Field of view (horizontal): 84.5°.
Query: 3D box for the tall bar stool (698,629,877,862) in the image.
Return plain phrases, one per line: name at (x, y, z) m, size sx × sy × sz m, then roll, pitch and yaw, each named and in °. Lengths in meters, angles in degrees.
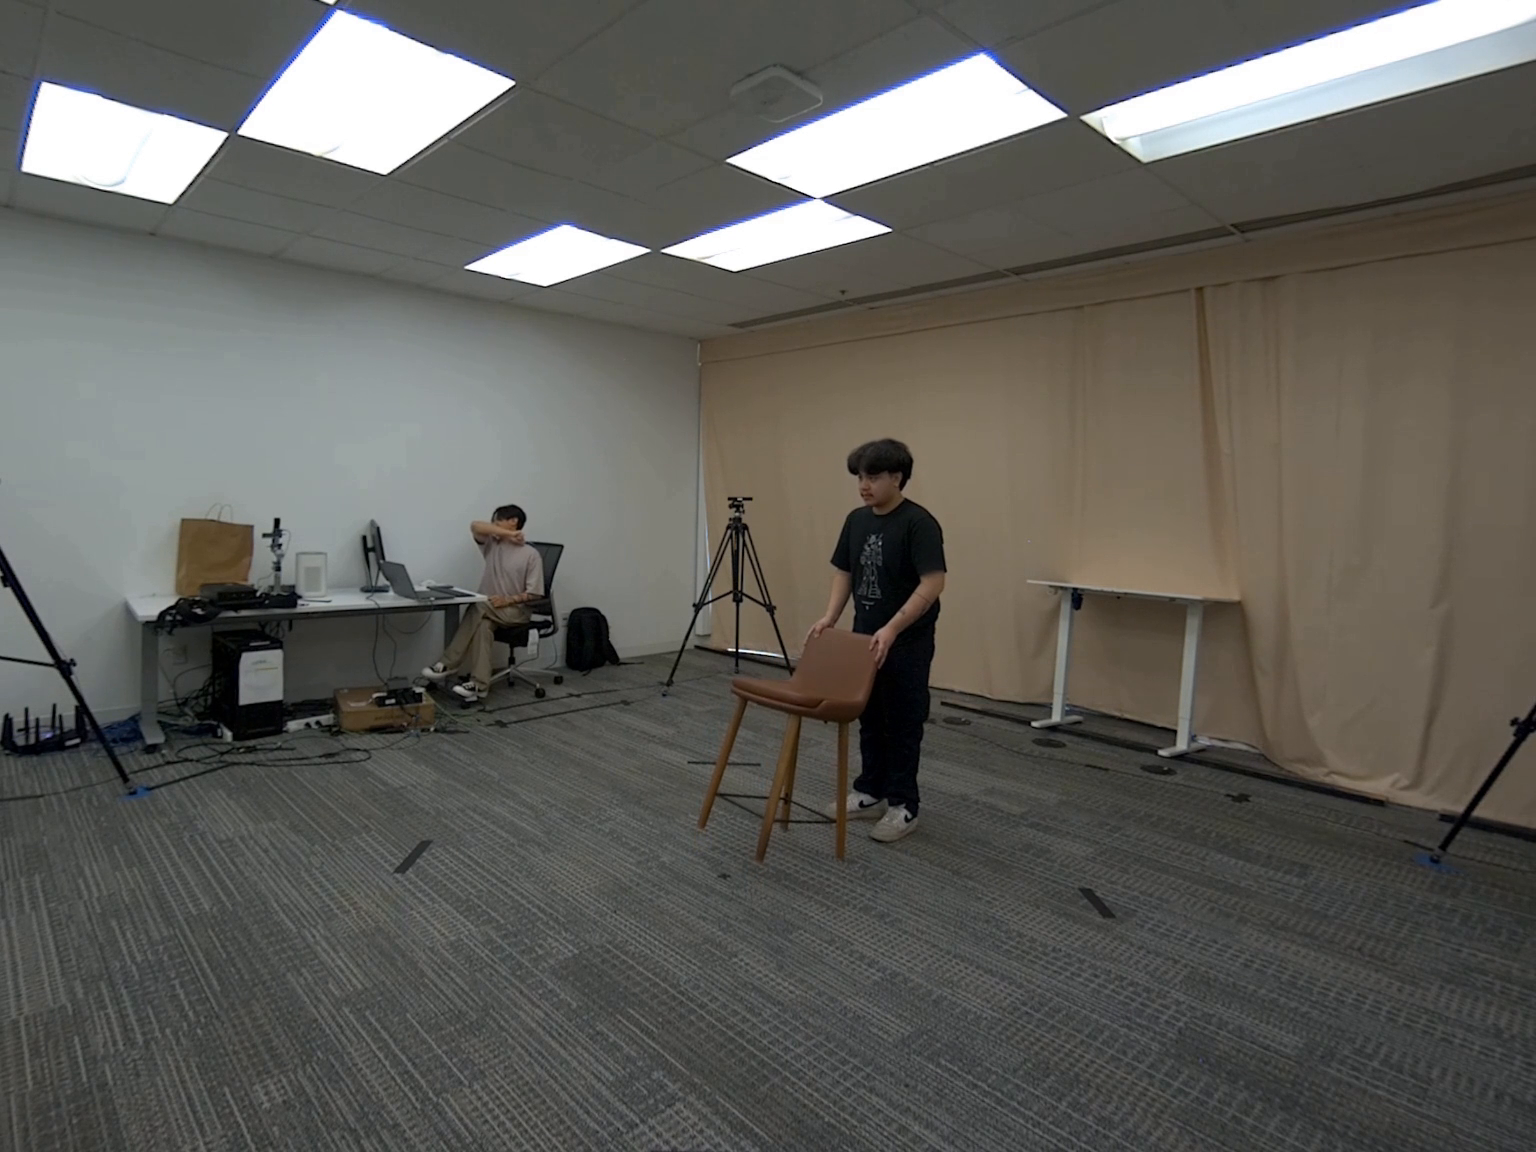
tall bar stool at (0.096, 0.625, 3.329) m, size 0.455 × 0.892 × 0.468 m, roll 16°, pitch -7°, yaw -36°
